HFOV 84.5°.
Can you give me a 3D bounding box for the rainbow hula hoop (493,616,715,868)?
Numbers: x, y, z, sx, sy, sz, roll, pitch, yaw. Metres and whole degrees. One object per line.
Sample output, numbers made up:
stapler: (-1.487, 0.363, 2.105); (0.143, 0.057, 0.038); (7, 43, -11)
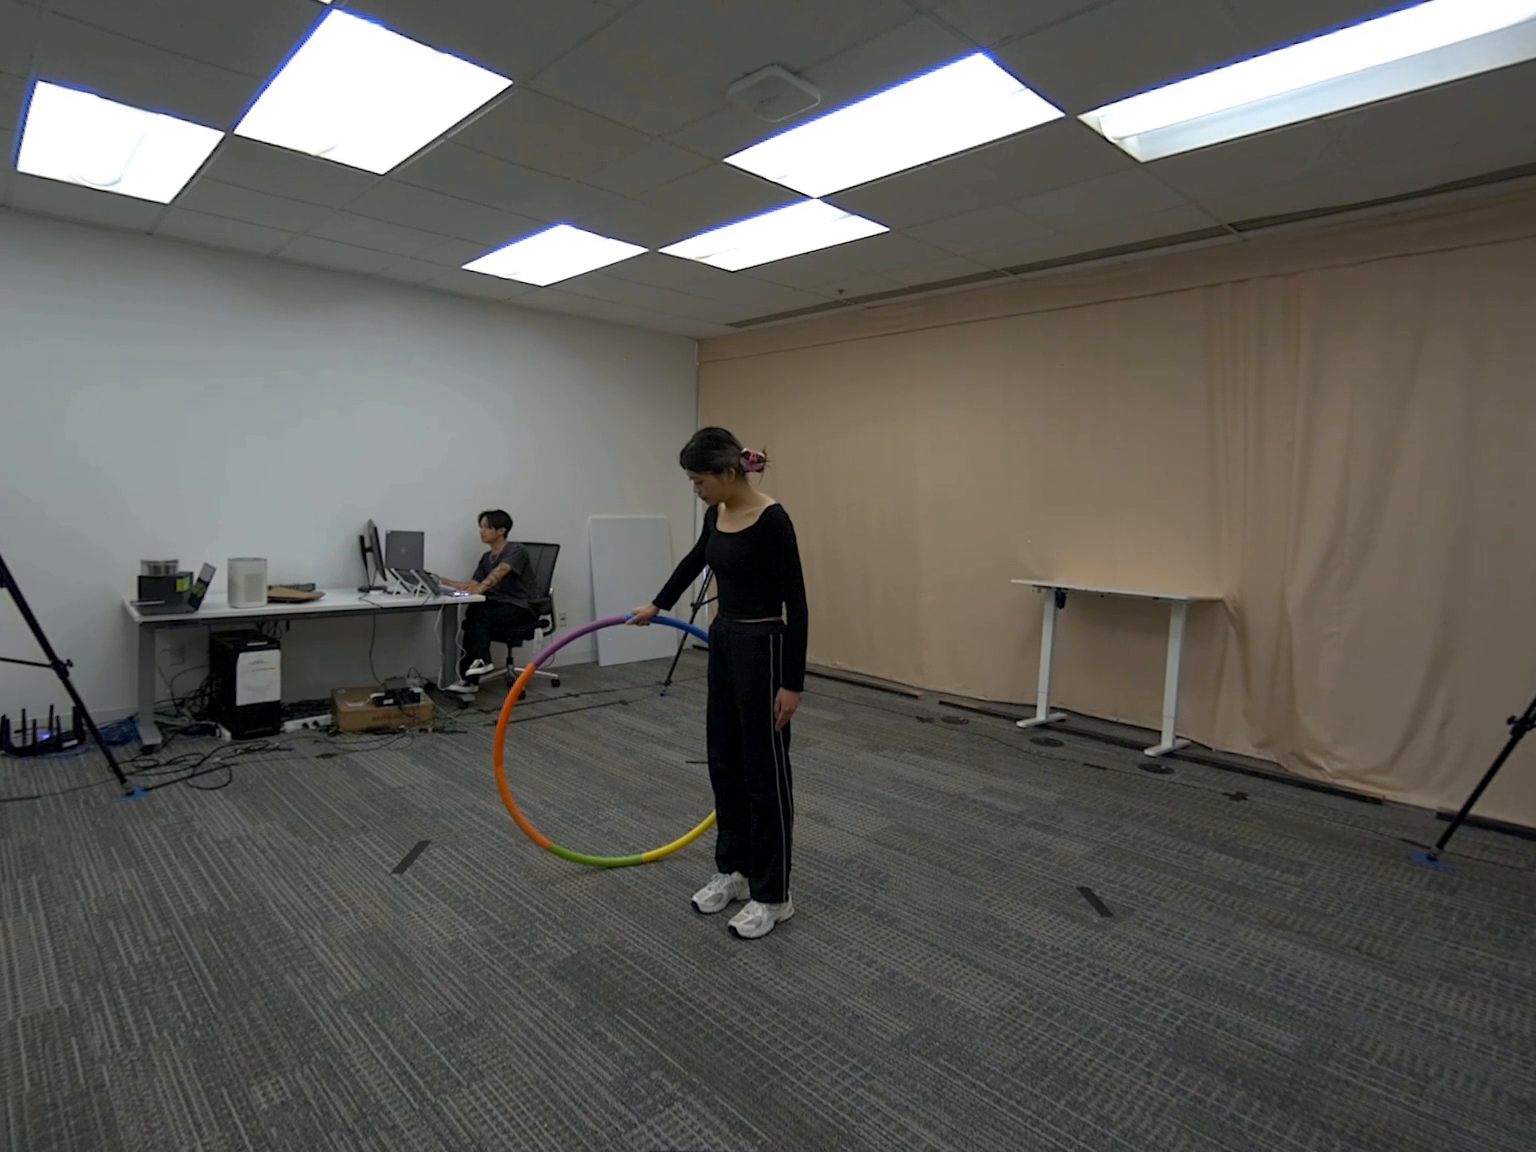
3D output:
rainbow hula hoop: (-0.503, 0.616, 3.146); (0.962, 0.975, 0.036); (0, 5, -23)
